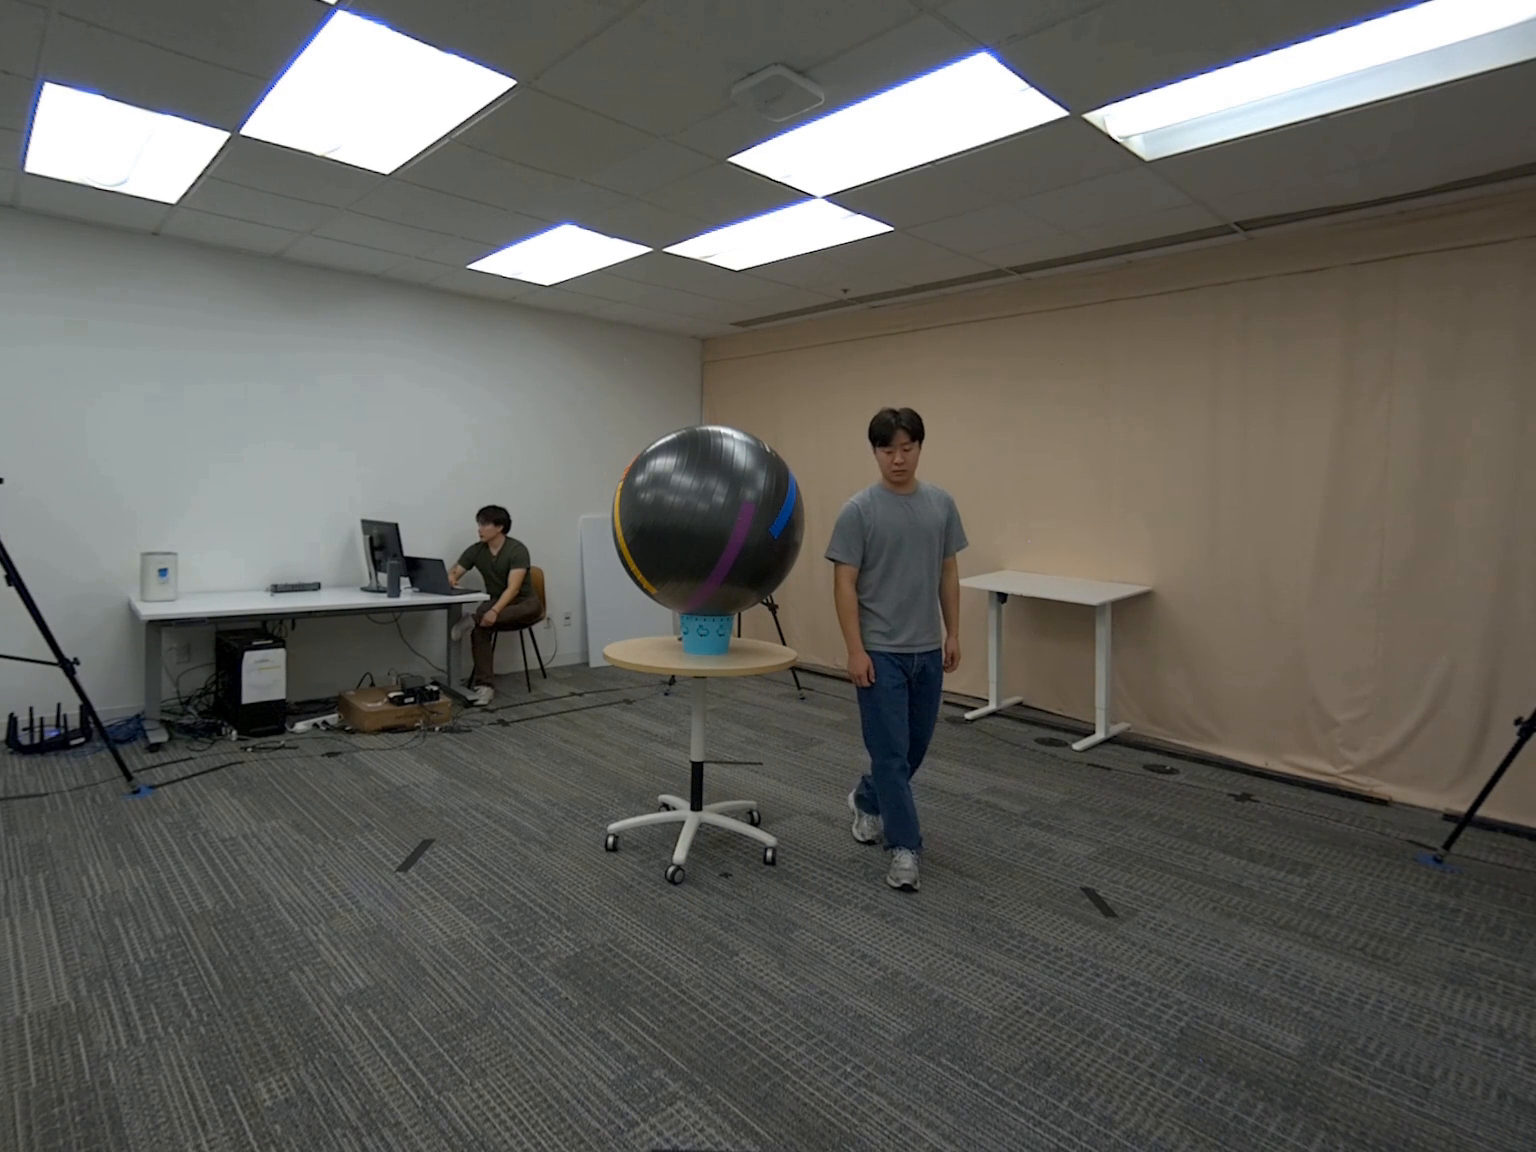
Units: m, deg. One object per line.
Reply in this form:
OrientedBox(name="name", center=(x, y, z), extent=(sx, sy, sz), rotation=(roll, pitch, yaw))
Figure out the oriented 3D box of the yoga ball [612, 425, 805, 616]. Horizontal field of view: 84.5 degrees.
OrientedBox(name="yoga ball", center=(-0.252, -0.216, 3.331), extent=(0.757, 0.756, 0.761), rotation=(1, 4, -1))
